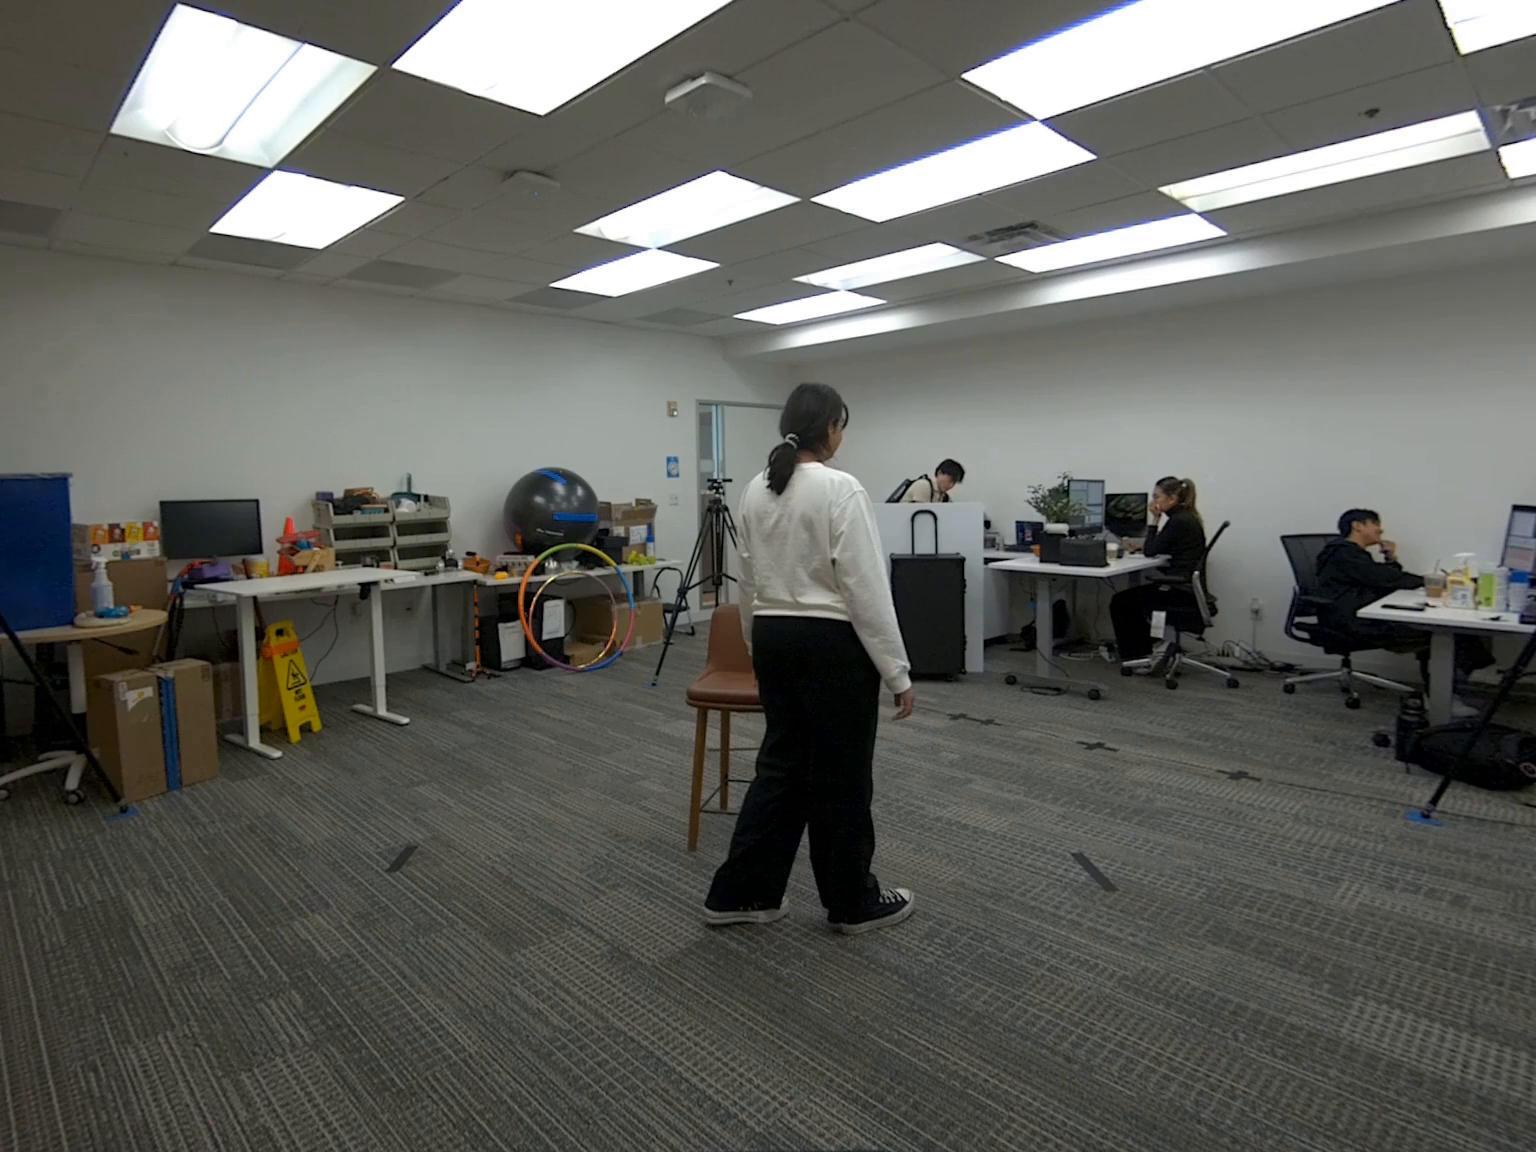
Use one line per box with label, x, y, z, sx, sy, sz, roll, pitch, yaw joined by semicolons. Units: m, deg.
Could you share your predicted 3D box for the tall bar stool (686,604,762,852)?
tall bar stool;-0.065;0.580;3.366;0.463;0.888;0.462;0;2;14
